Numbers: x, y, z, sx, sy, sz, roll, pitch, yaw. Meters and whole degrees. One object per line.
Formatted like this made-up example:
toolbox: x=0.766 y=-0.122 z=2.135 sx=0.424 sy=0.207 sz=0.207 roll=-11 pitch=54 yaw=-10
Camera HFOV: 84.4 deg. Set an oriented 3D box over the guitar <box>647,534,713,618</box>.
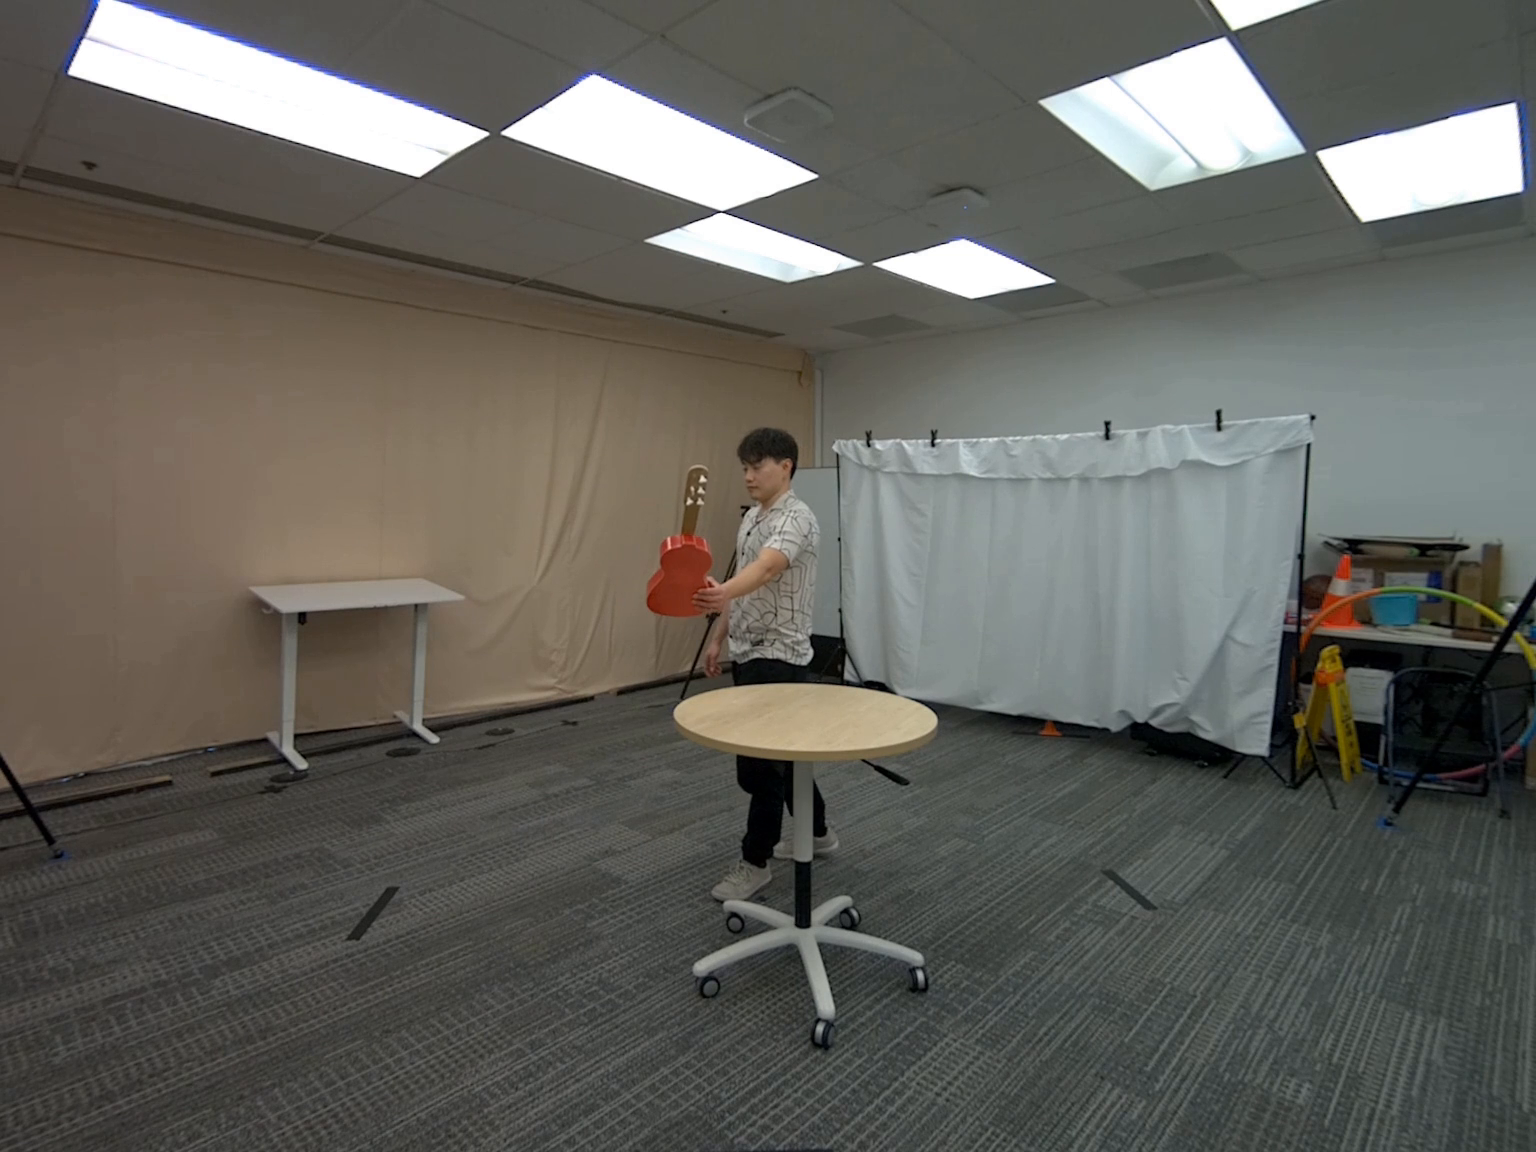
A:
guitar: x=-0.259 y=-0.086 z=2.395 sx=0.192 sy=0.488 sz=0.072 roll=-4 pitch=39 yaw=-4
